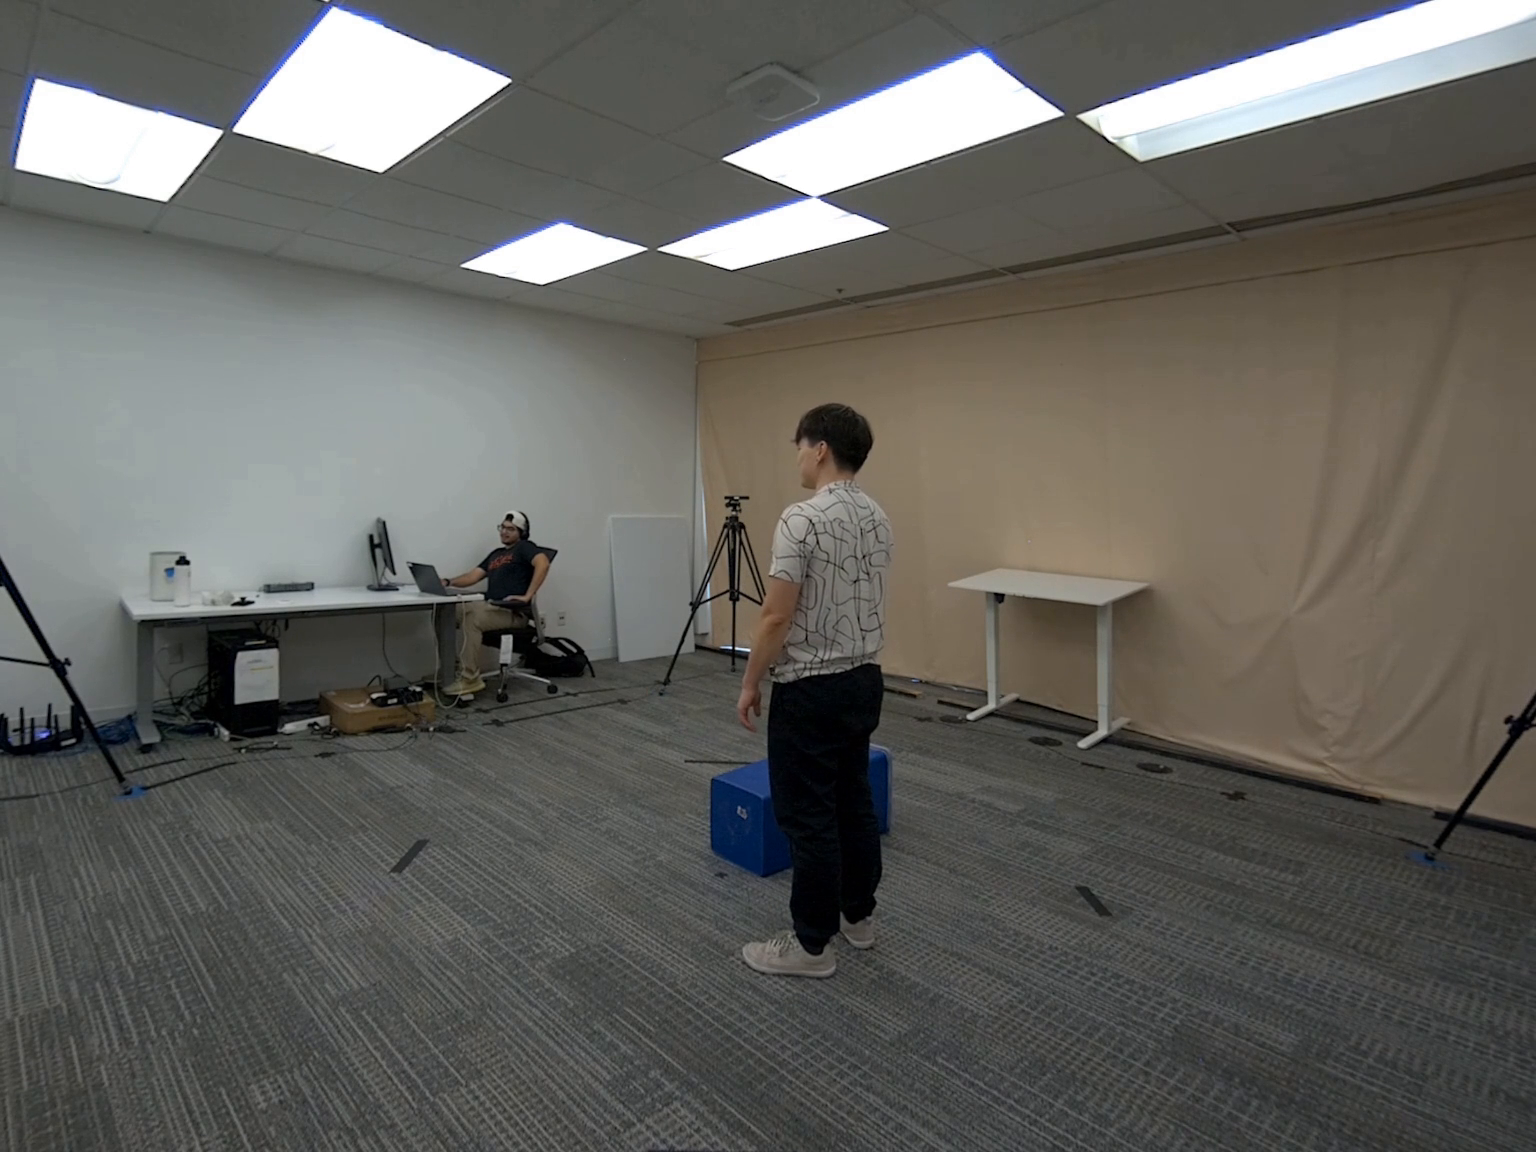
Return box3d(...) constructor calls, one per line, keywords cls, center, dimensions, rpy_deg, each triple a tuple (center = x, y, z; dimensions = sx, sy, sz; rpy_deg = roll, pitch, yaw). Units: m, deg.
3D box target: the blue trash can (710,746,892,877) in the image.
box3d(cls="blue trash can", center=(0.124, 0.912, 3.413), dimensions=(0.698, 0.377, 0.384), rpy_deg=(-5, 7, -41))
